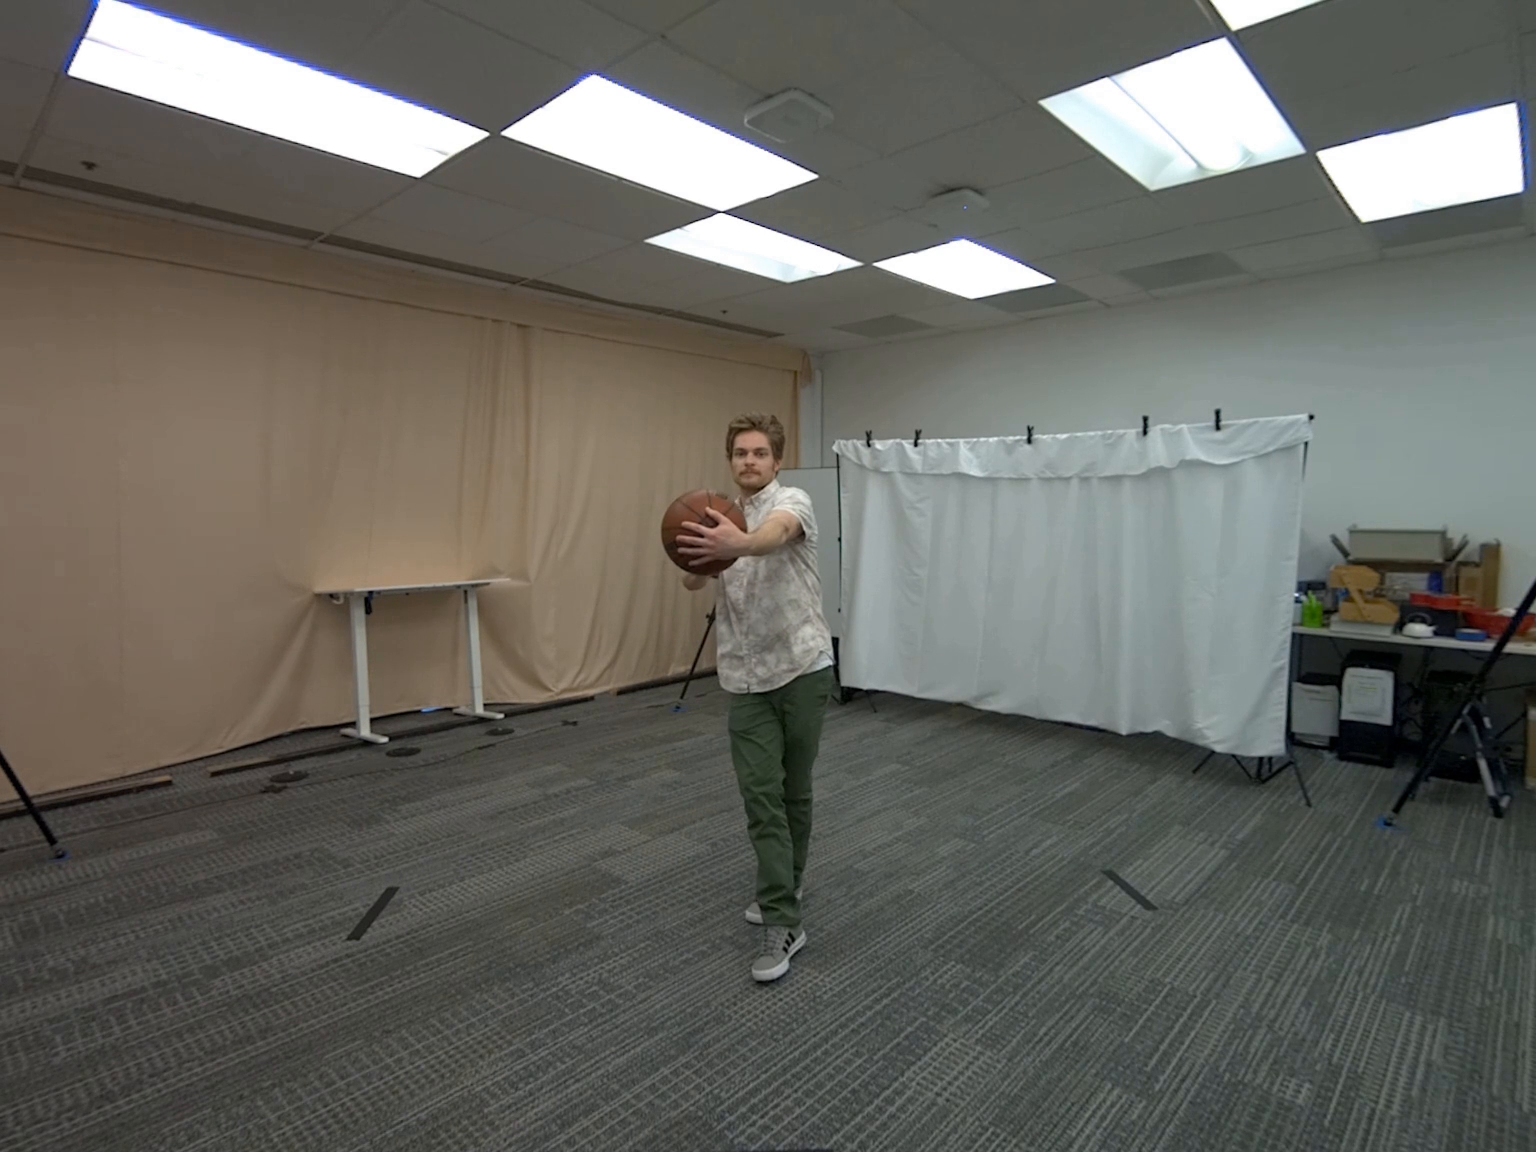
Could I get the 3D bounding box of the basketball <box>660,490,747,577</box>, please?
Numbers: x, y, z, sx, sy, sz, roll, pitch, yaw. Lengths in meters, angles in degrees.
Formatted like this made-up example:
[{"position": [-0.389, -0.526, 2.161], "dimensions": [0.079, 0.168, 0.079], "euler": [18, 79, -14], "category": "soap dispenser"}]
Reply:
[{"position": [-0.175, -0.120, 2.316], "dimensions": [0.236, 0.235, 0.237], "euler": [0, 4, -2], "category": "basketball"}]
